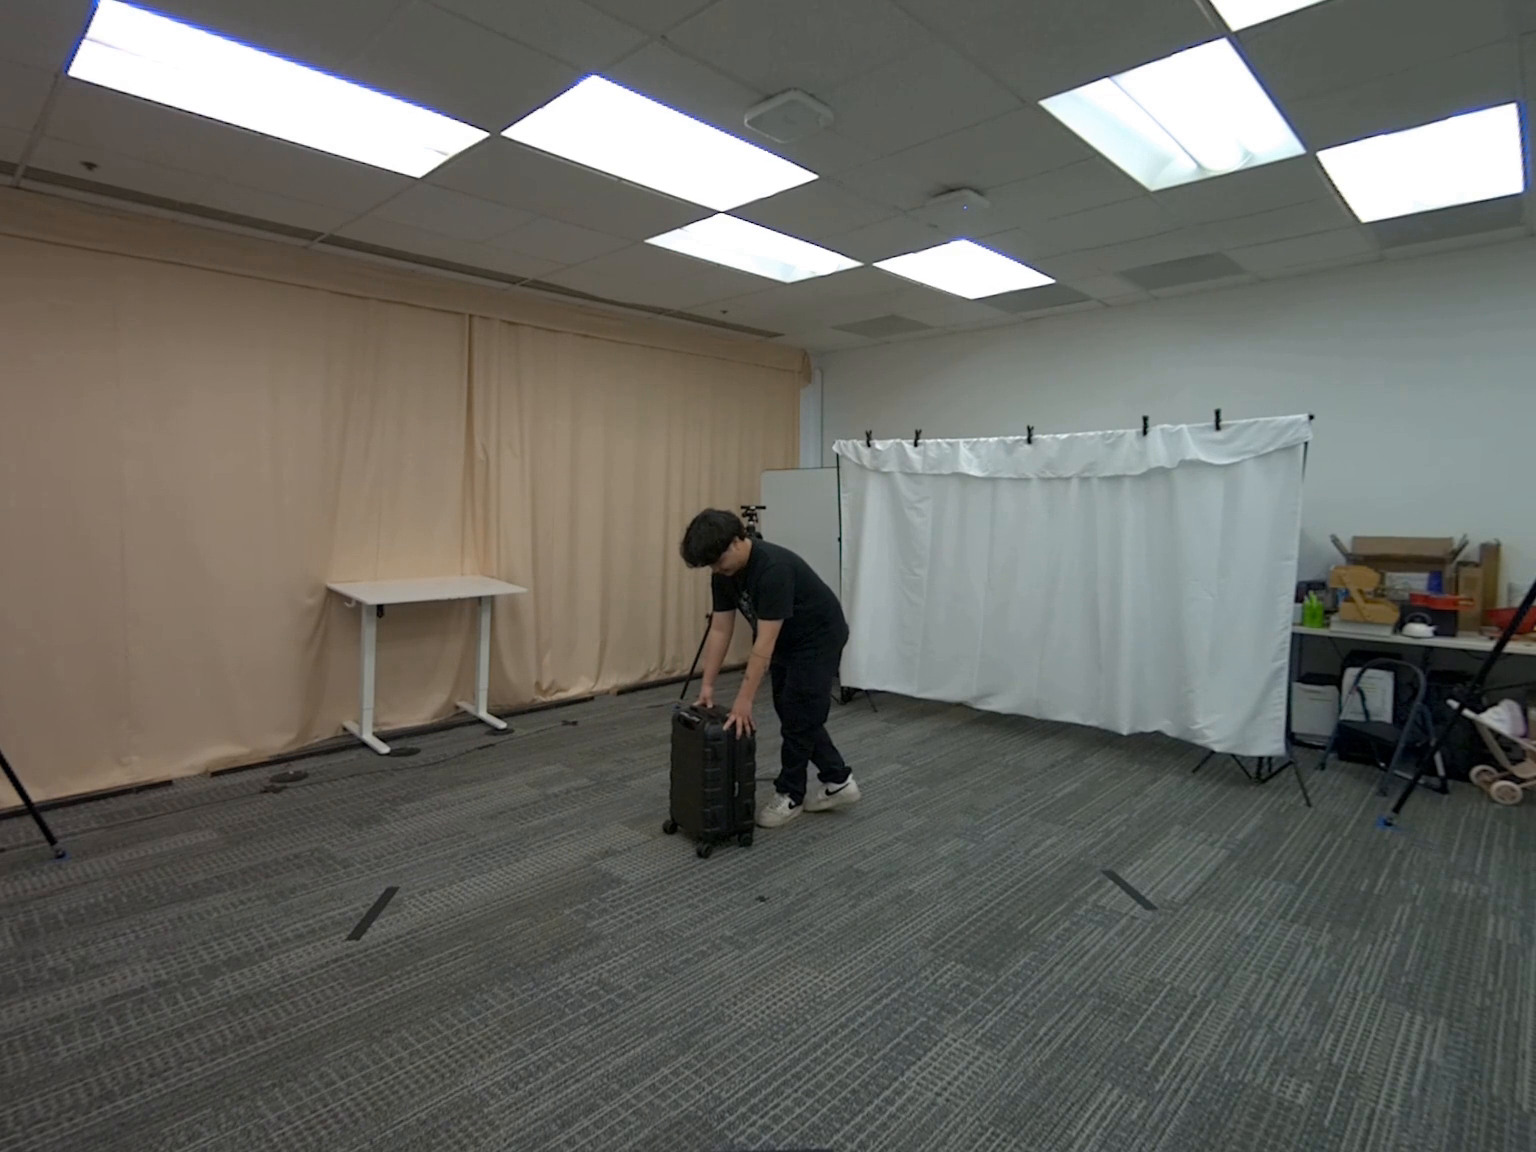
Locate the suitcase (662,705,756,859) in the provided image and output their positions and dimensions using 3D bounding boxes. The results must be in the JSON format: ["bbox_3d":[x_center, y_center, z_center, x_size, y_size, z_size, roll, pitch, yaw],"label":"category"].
[{"bbox_3d":[-0.237,0.825,3.526,0.241,0.549,0.387,1,2,-33],"label":"suitcase"}]
